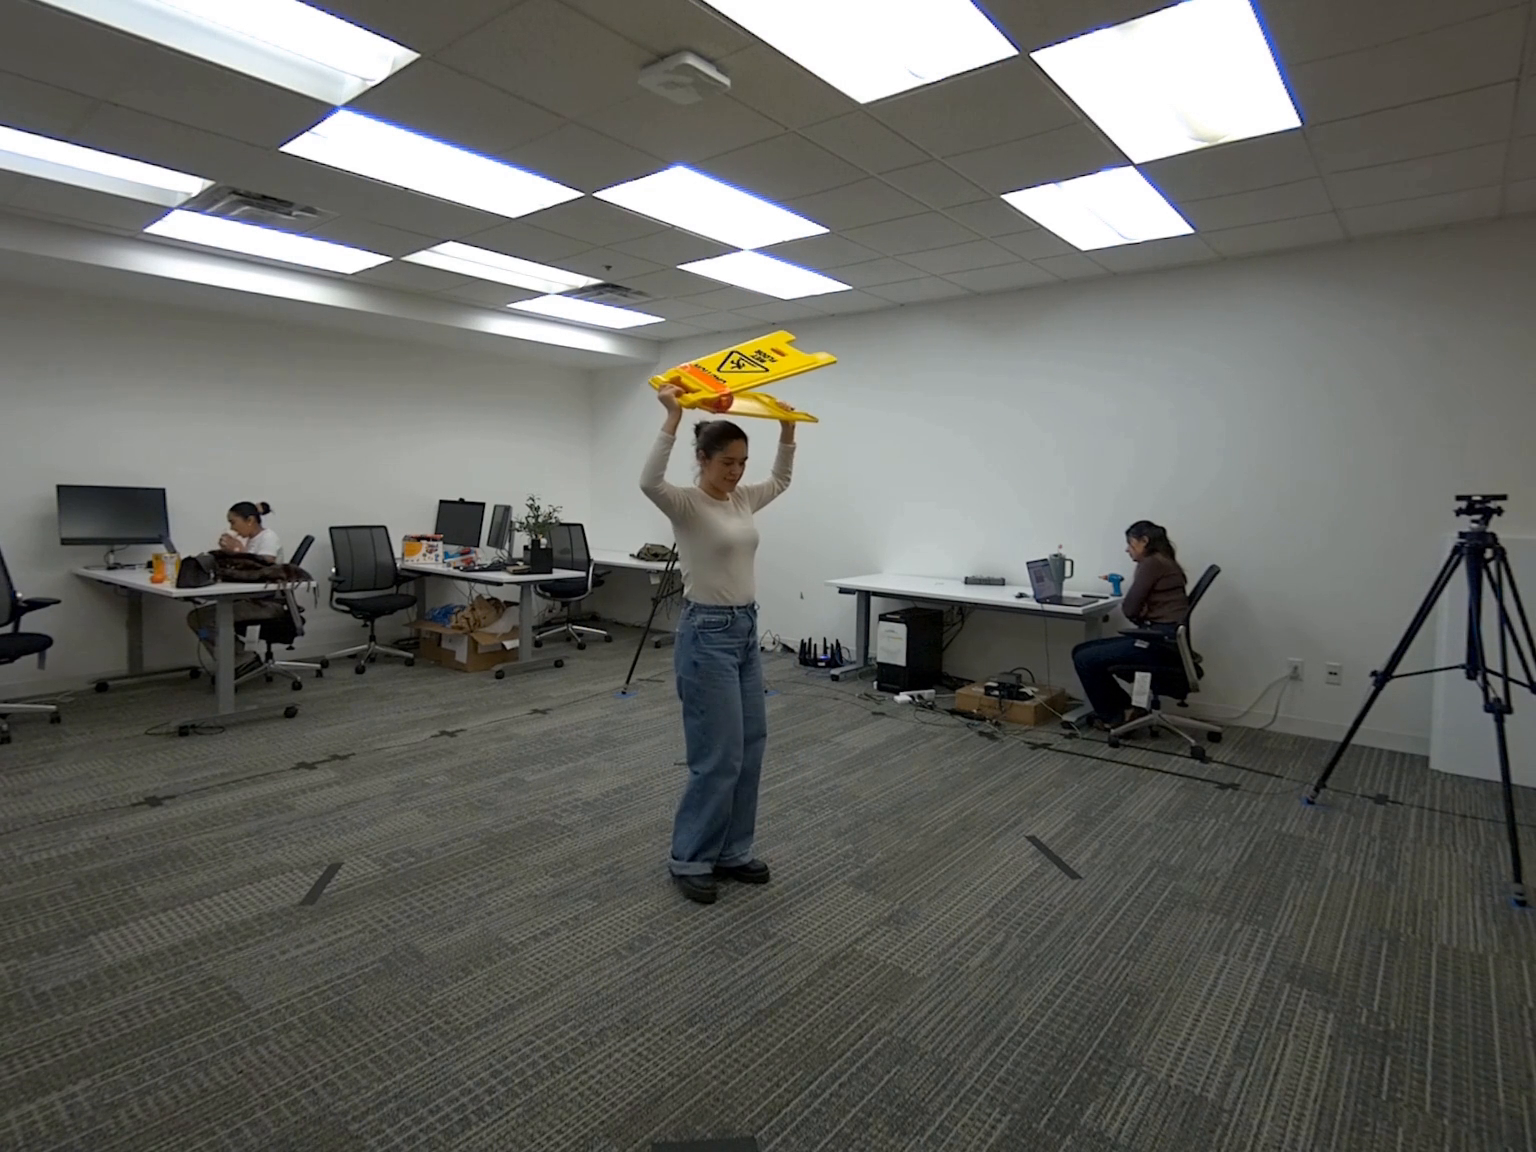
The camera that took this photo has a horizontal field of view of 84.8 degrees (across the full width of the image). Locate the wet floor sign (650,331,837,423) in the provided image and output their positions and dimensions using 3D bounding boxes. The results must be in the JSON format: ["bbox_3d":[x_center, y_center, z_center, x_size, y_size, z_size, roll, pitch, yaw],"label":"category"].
[{"bbox_3d":[-0.111,-0.653,2.881,0.293,0.285,0.632,35,35,31],"label":"wet floor sign"}]
